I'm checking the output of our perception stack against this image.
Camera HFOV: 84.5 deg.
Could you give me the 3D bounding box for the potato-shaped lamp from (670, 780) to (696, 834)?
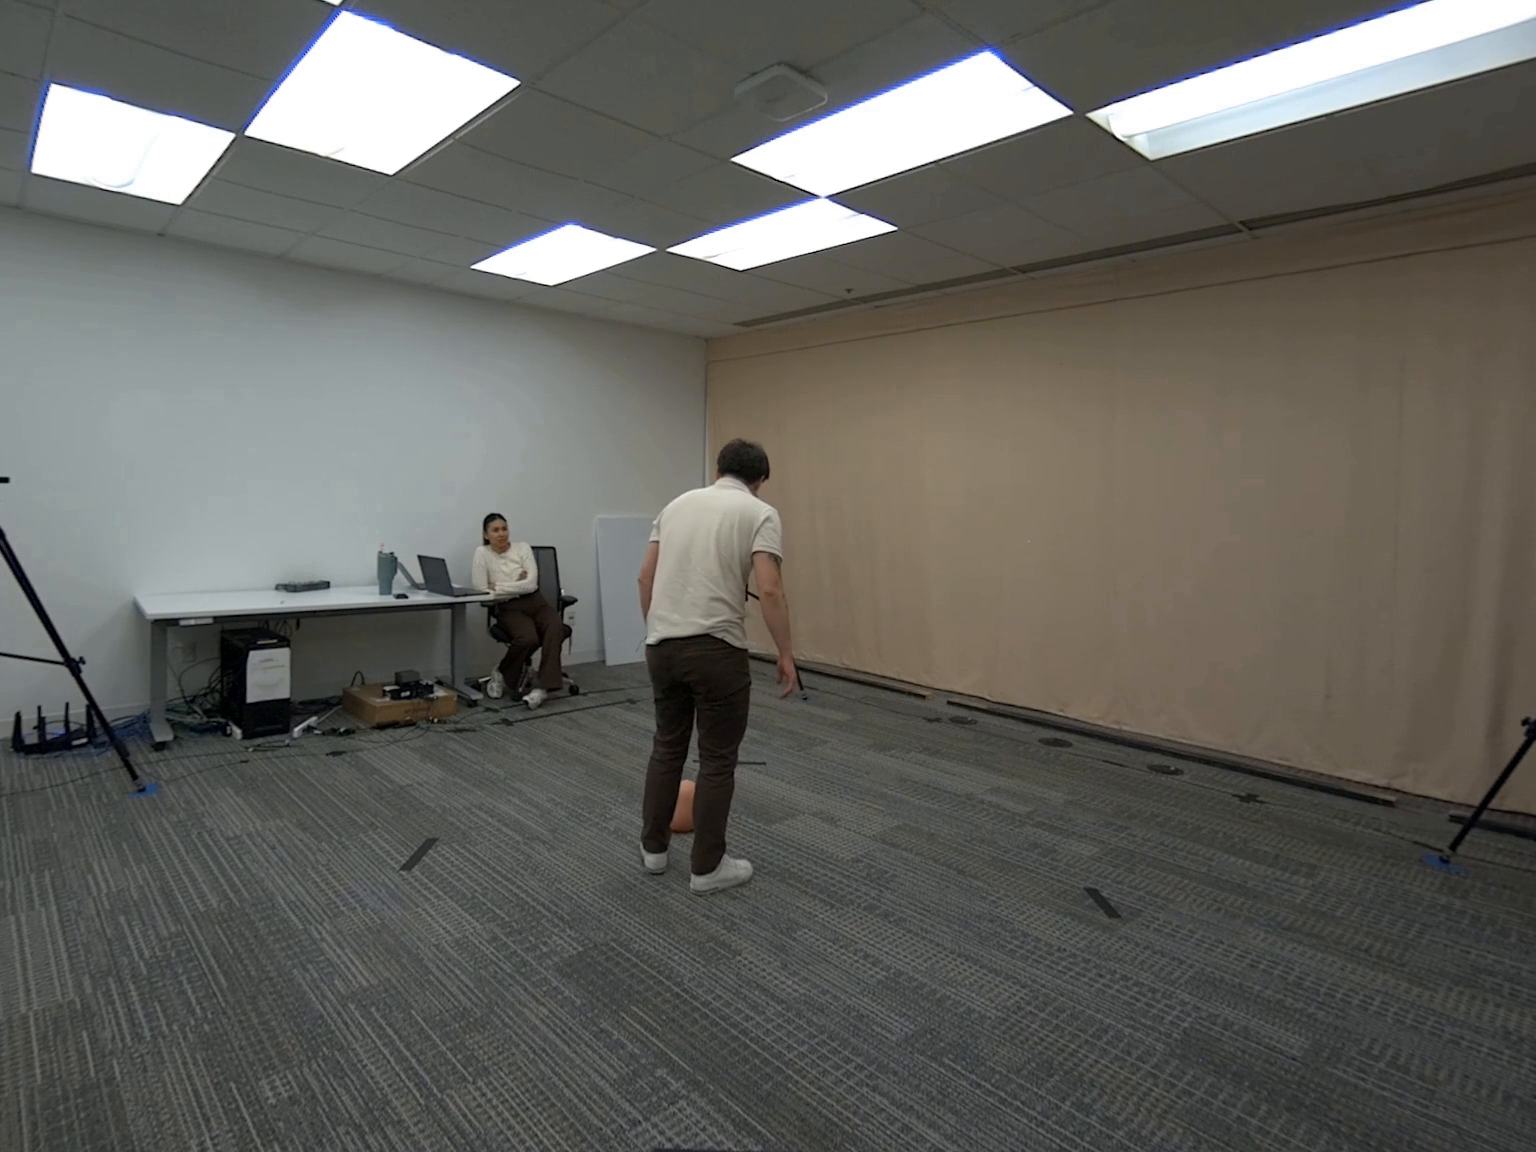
[{"bbox_3d":[-0.364,0.961,3.545,0.170,0.198,0.166,3,3,-7],"label":"potato-shaped lamp"}]
